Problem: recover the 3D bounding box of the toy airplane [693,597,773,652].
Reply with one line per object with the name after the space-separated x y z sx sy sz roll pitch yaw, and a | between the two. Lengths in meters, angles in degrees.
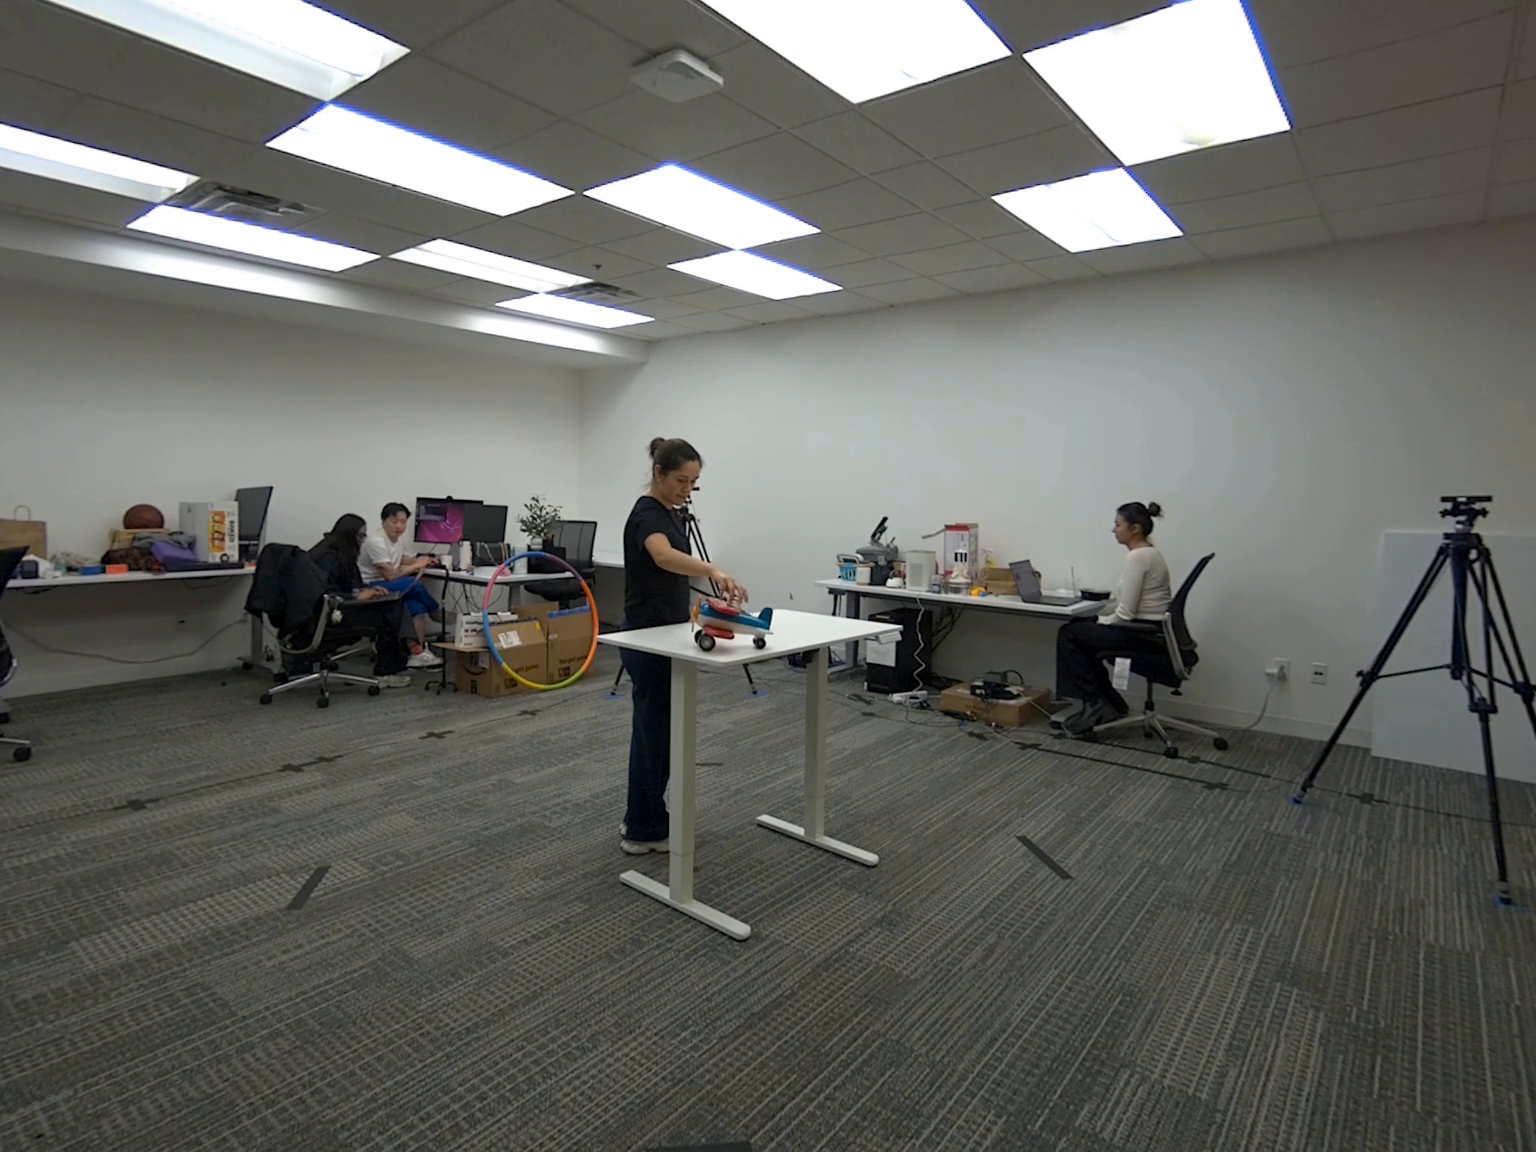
-0.116 0.145 2.721 0.252 0.156 0.259 -4 5 -34 | toy airplane
